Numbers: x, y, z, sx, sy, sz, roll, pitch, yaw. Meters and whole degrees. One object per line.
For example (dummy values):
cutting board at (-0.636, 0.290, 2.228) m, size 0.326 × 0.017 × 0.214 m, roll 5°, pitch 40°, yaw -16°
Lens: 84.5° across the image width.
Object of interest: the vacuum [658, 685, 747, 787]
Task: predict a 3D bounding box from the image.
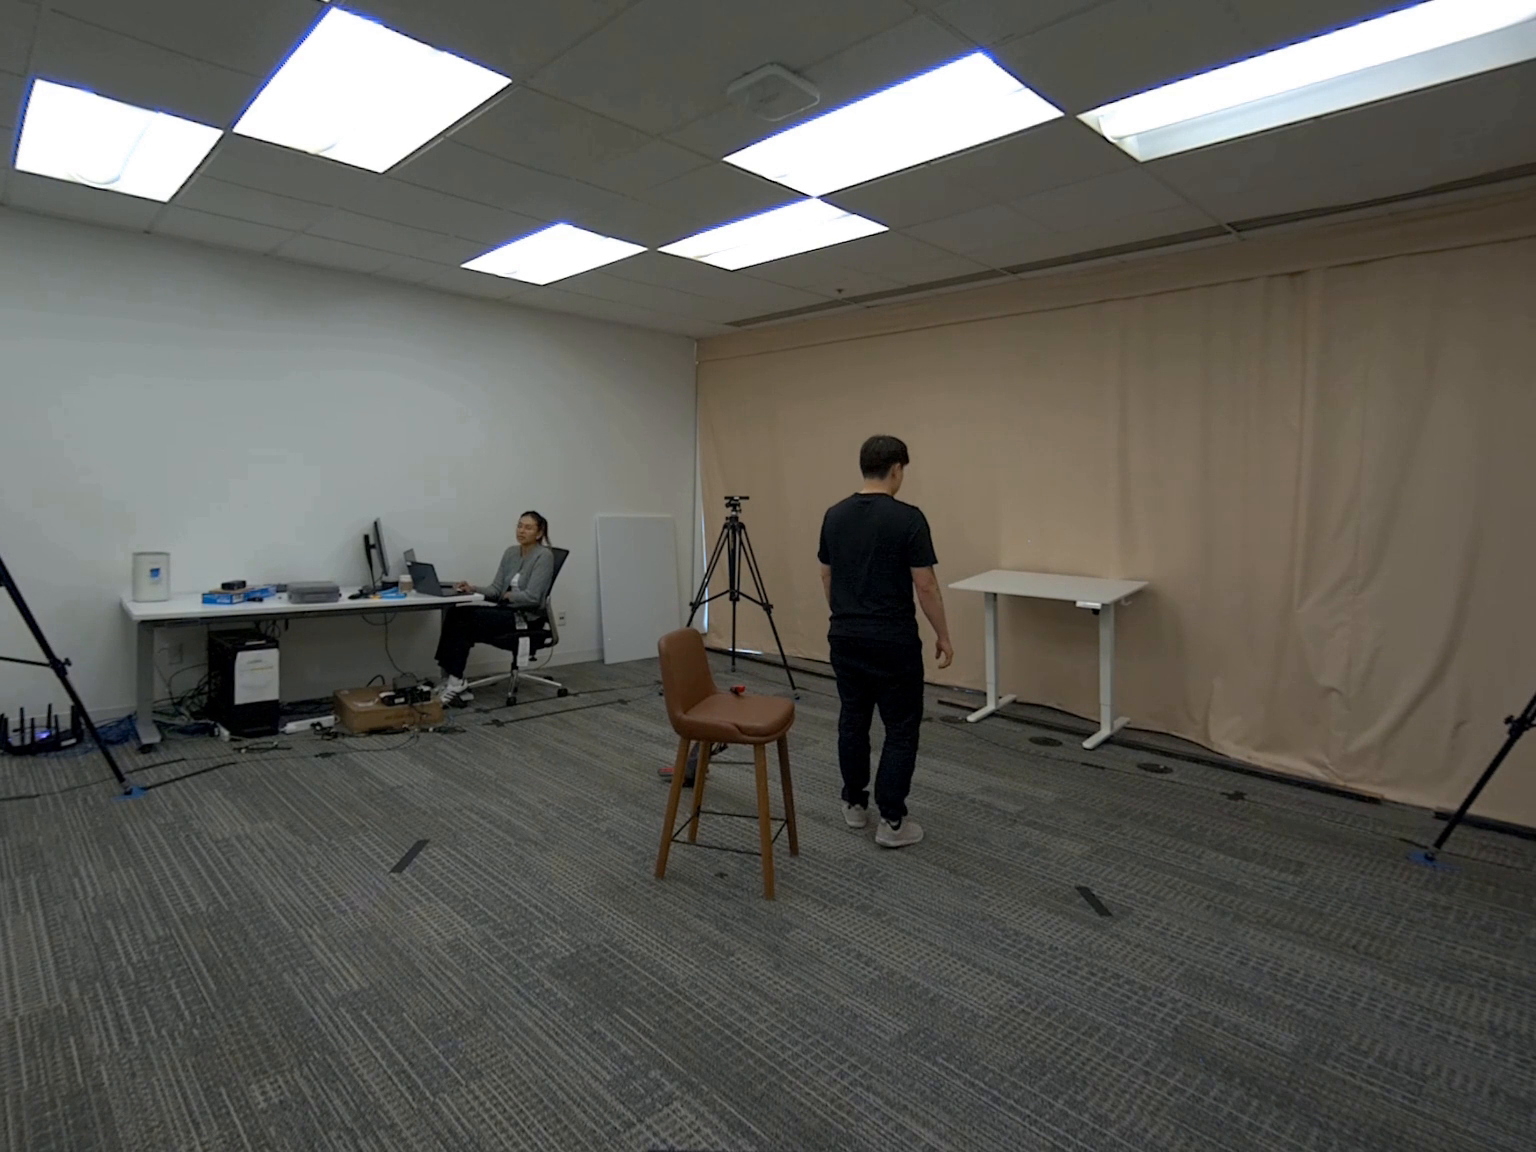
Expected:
vacuum at (-0.262, 0.716, 3.705) m, size 0.249 × 0.147 × 1.040 m, roll 0°, pitch -31°, yaw -20°
